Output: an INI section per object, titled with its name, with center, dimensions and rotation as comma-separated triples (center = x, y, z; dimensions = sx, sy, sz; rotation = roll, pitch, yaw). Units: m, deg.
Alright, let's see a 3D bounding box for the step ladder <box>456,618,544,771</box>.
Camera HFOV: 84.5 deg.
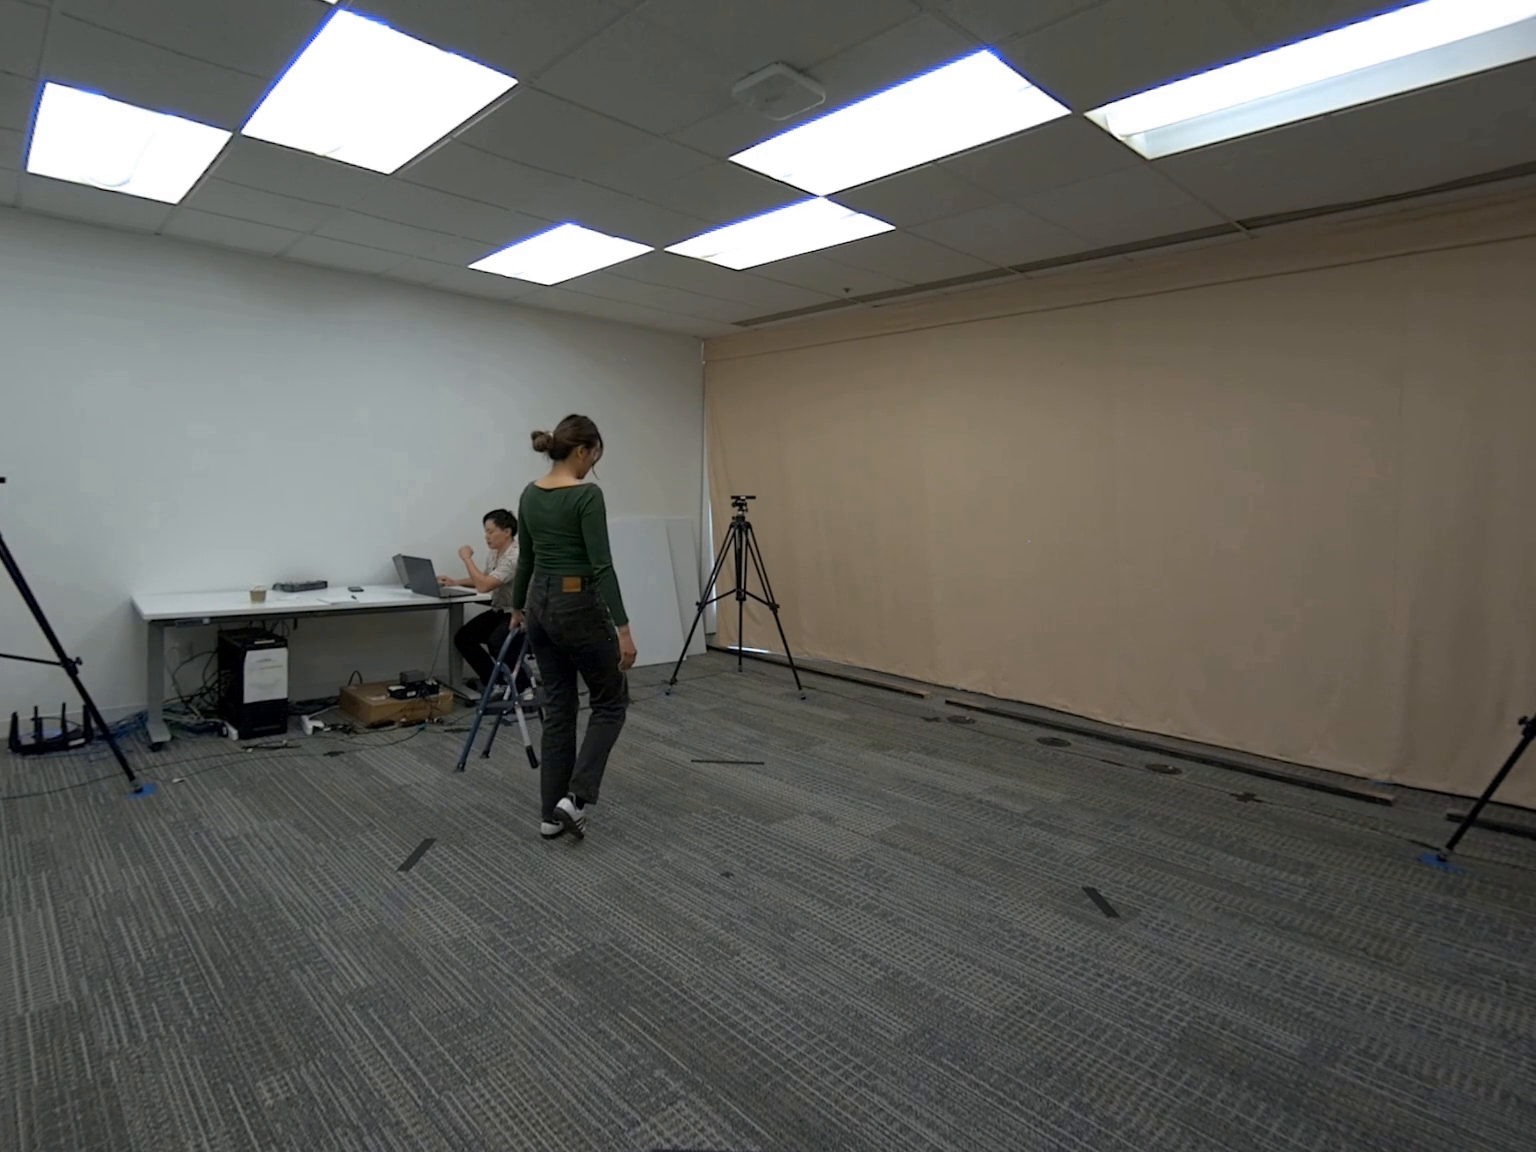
[step ladder]
center = -1.174, 0.531, 3.744
dimensions = 0.348, 0.609, 0.430
rotation = -3, -6, -4
